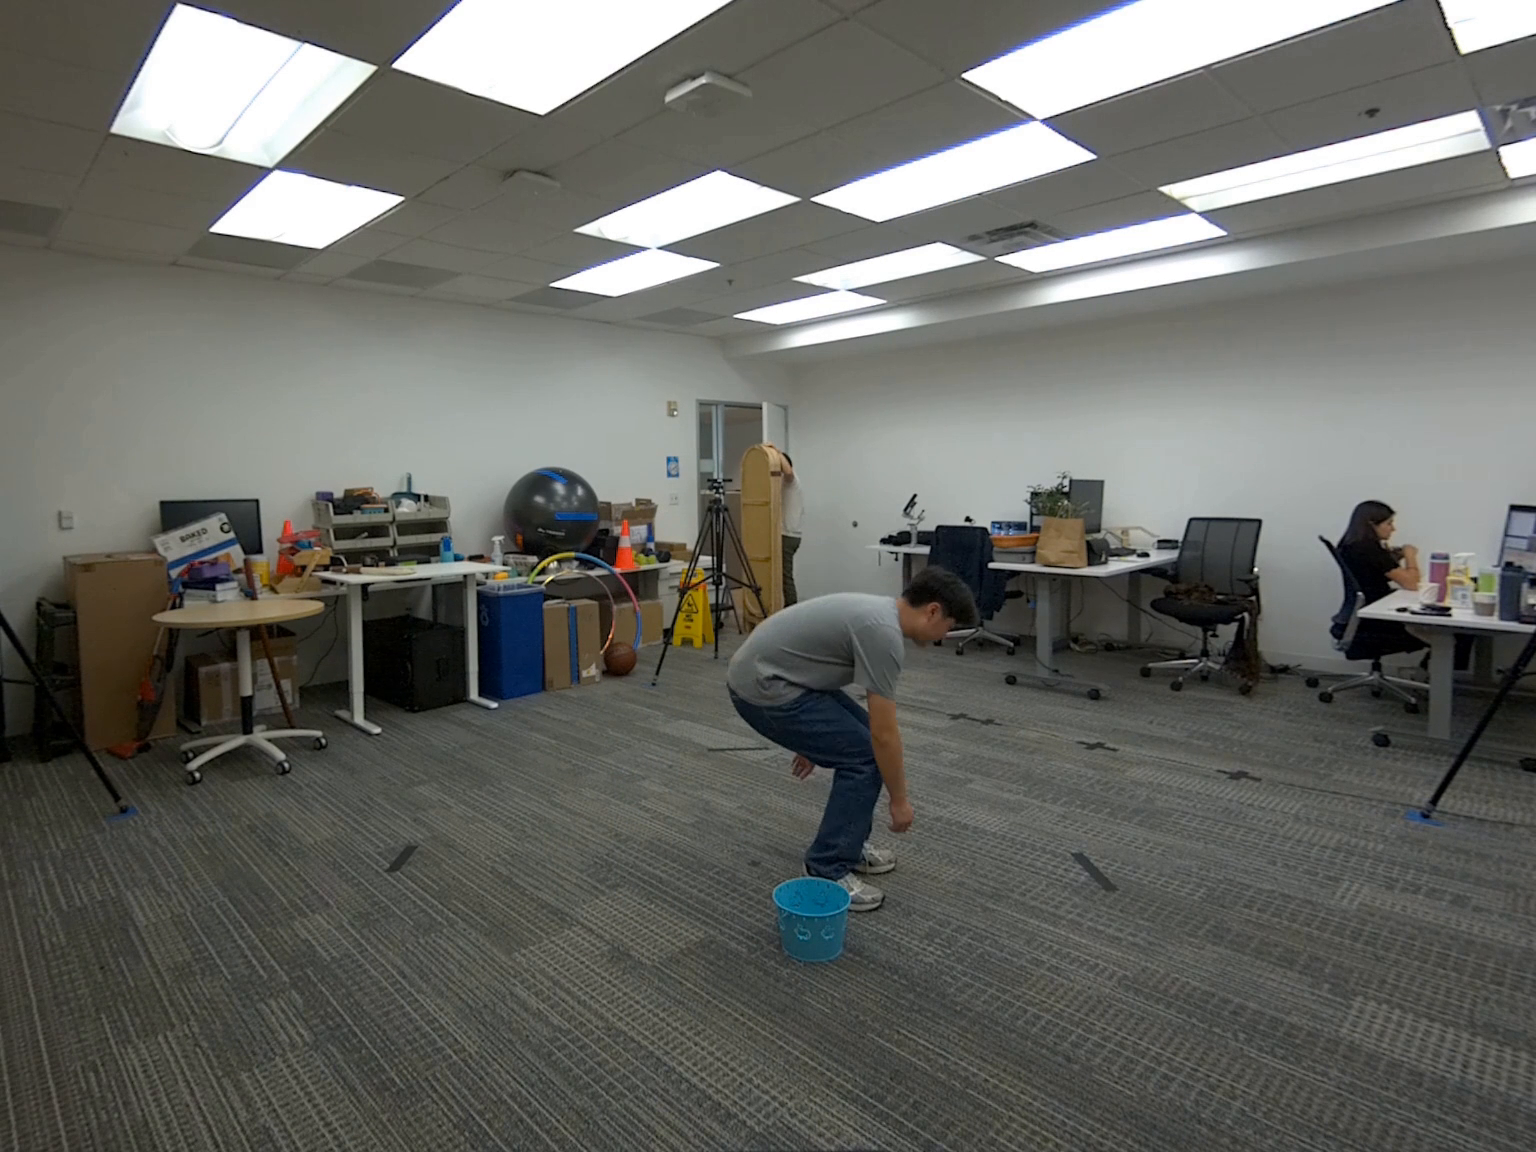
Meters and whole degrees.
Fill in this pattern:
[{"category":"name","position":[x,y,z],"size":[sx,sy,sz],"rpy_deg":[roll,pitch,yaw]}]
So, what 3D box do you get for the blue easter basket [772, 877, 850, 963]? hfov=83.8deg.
[{"category":"blue easter basket","position":[0.136,1.023,2.563],"size":[0.243,0.155,0.245],"rpy_deg":[-1,6,-2]}]
